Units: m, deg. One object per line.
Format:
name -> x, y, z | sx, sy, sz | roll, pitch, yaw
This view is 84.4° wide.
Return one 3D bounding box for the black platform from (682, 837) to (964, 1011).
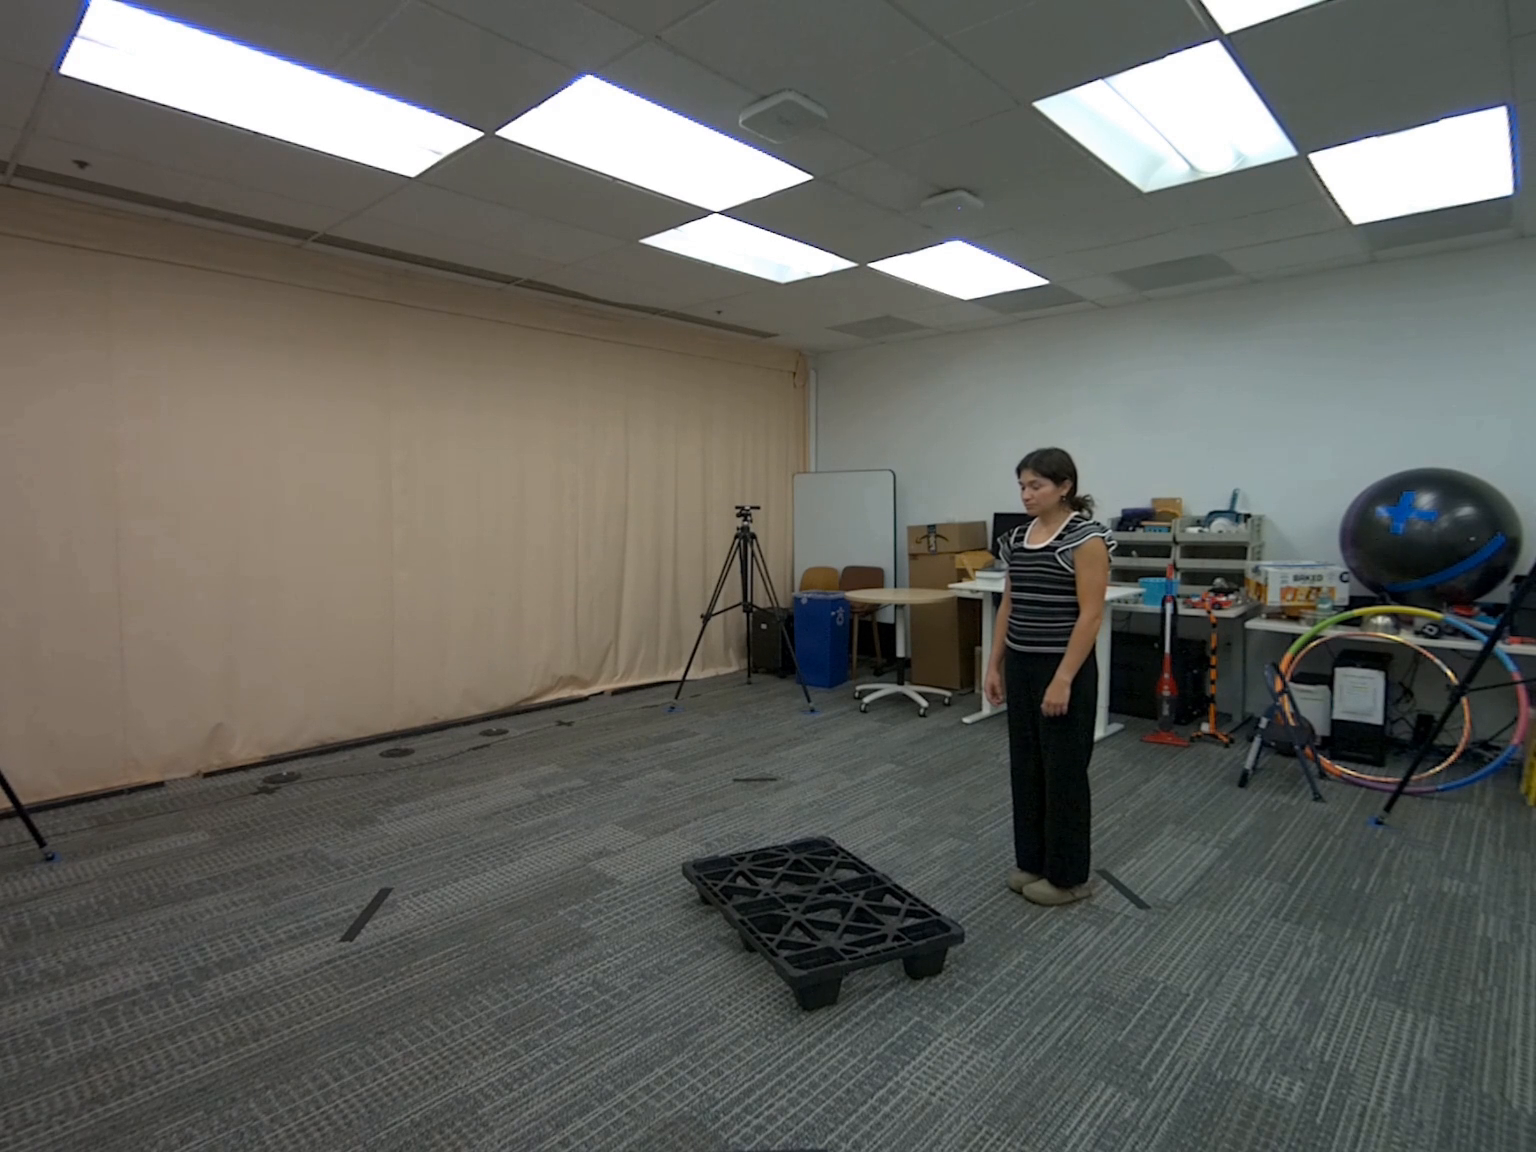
black platform -> 0.144, 1.096, 2.733 | 0.591, 0.143, 0.827 | -3, 5, -26
